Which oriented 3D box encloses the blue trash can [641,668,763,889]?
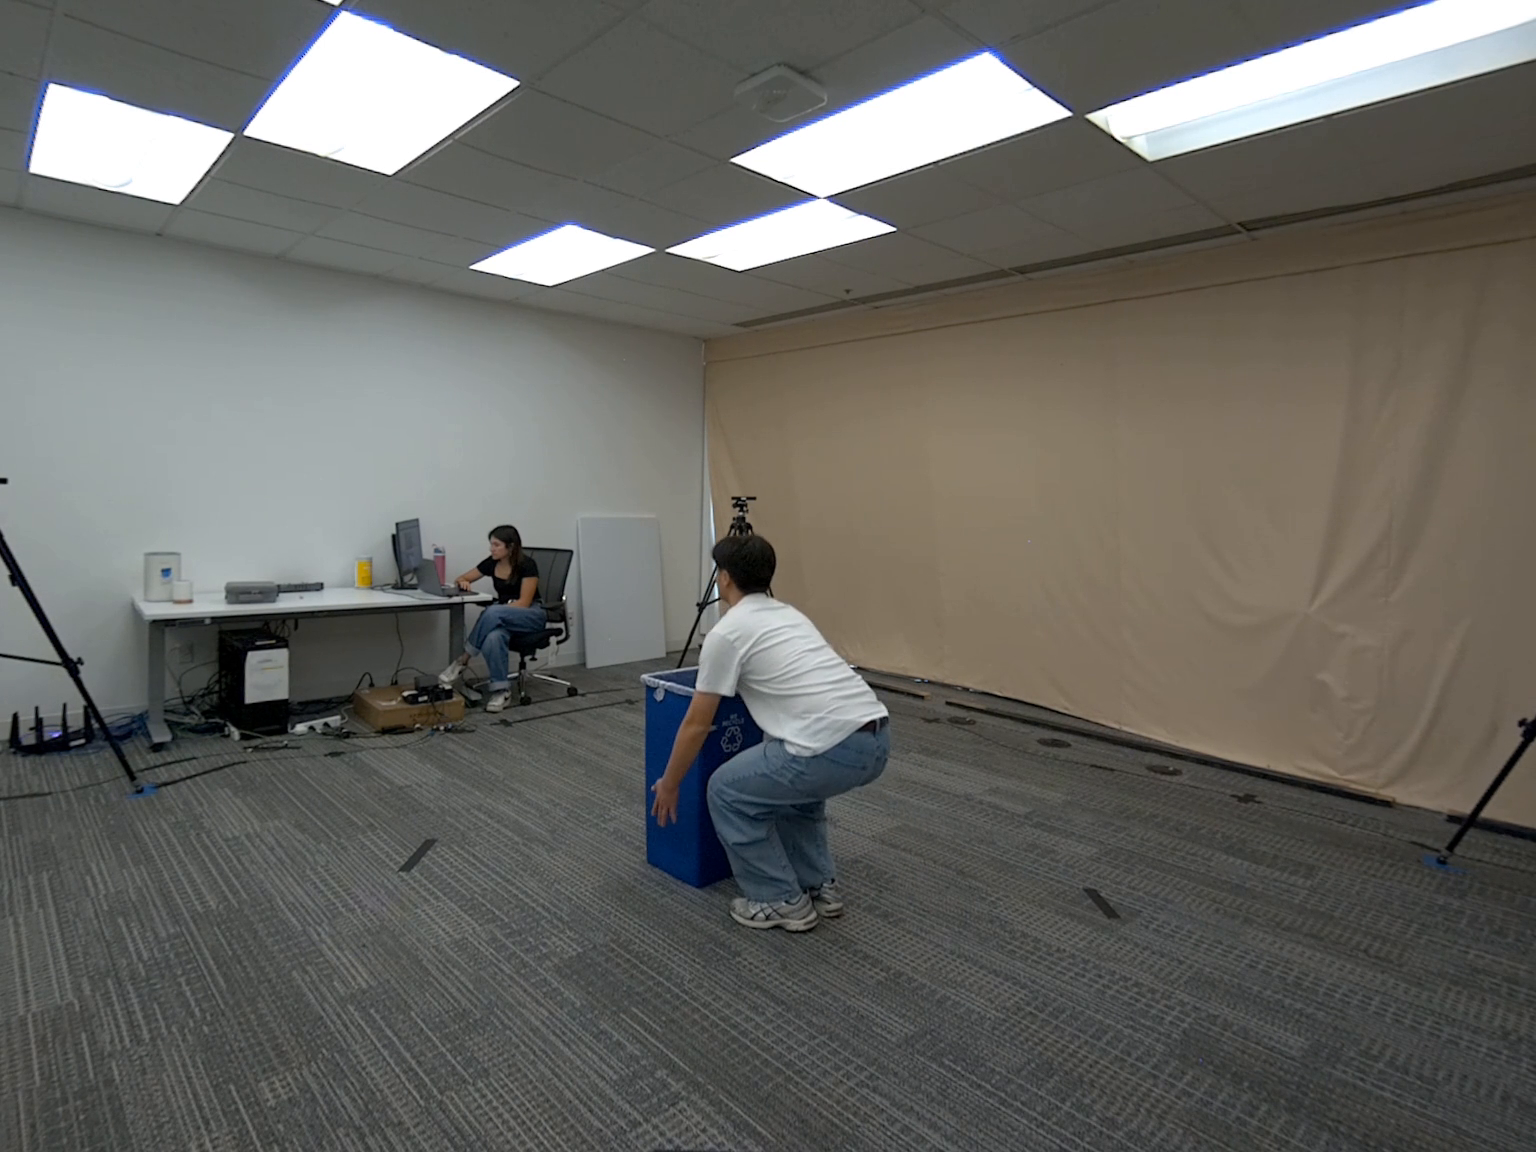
[{"bbox_3d":[-0.252,0.740,3.190,0.388,0.711,0.365,5,5,44],"label":"blue trash can"}]
